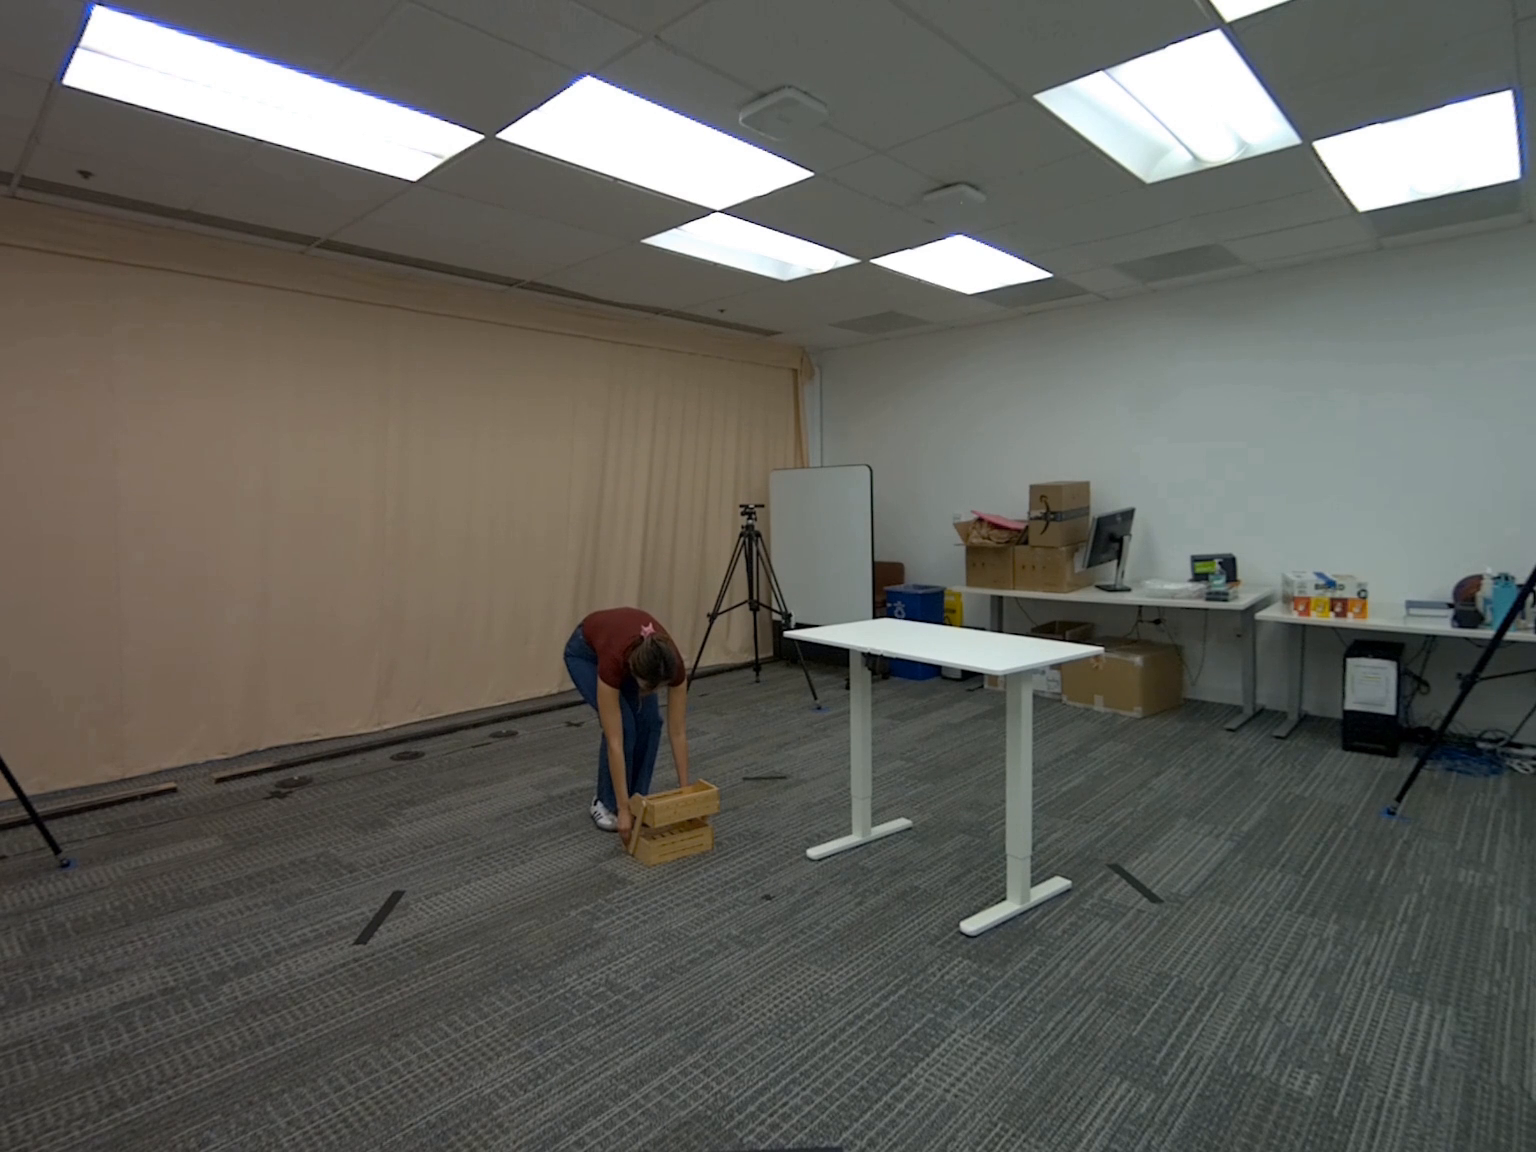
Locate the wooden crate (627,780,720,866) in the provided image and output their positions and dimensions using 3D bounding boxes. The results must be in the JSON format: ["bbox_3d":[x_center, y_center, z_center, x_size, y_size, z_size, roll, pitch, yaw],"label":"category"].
[{"bbox_3d":[-0.400,0.973,3.417,0.315,0.272,0.311,-4,5,-33],"label":"wooden crate"}]
